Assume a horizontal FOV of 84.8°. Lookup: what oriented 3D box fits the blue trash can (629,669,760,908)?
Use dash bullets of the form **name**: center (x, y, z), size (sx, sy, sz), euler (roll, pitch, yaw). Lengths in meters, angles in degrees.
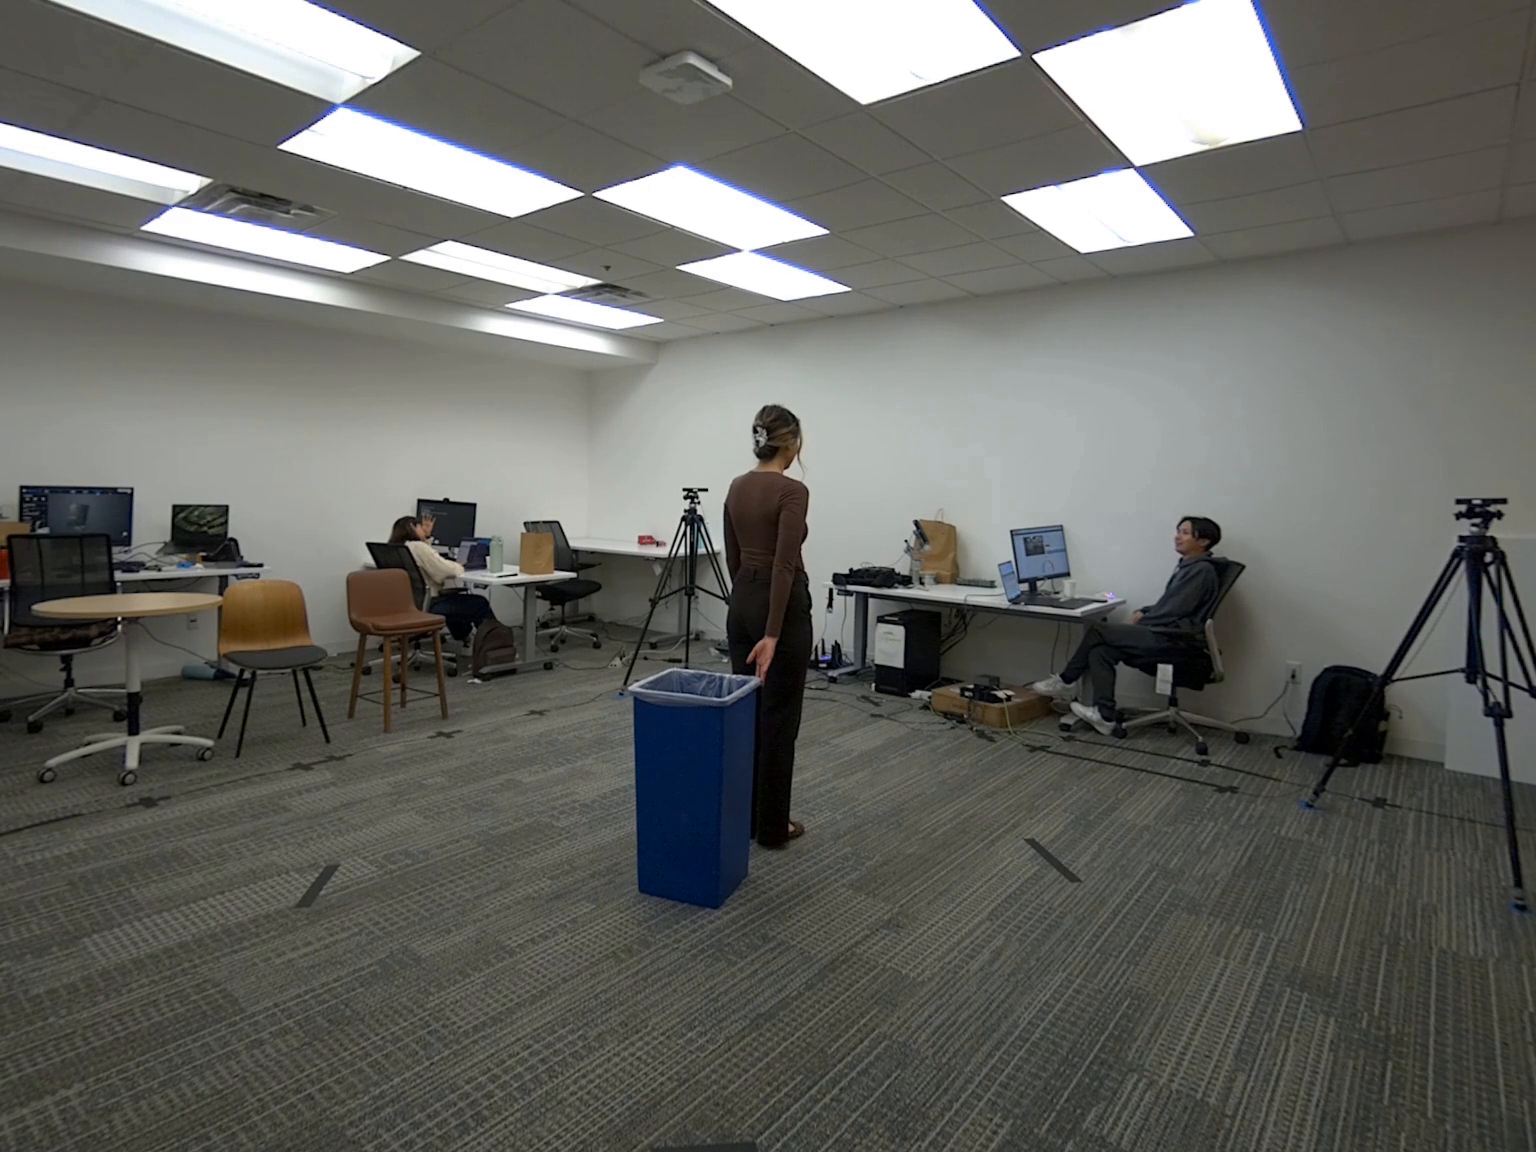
- **blue trash can**: center (-0.260, 0.721, 2.985), size (0.382, 0.712, 0.371), euler (1, 3, 20)
